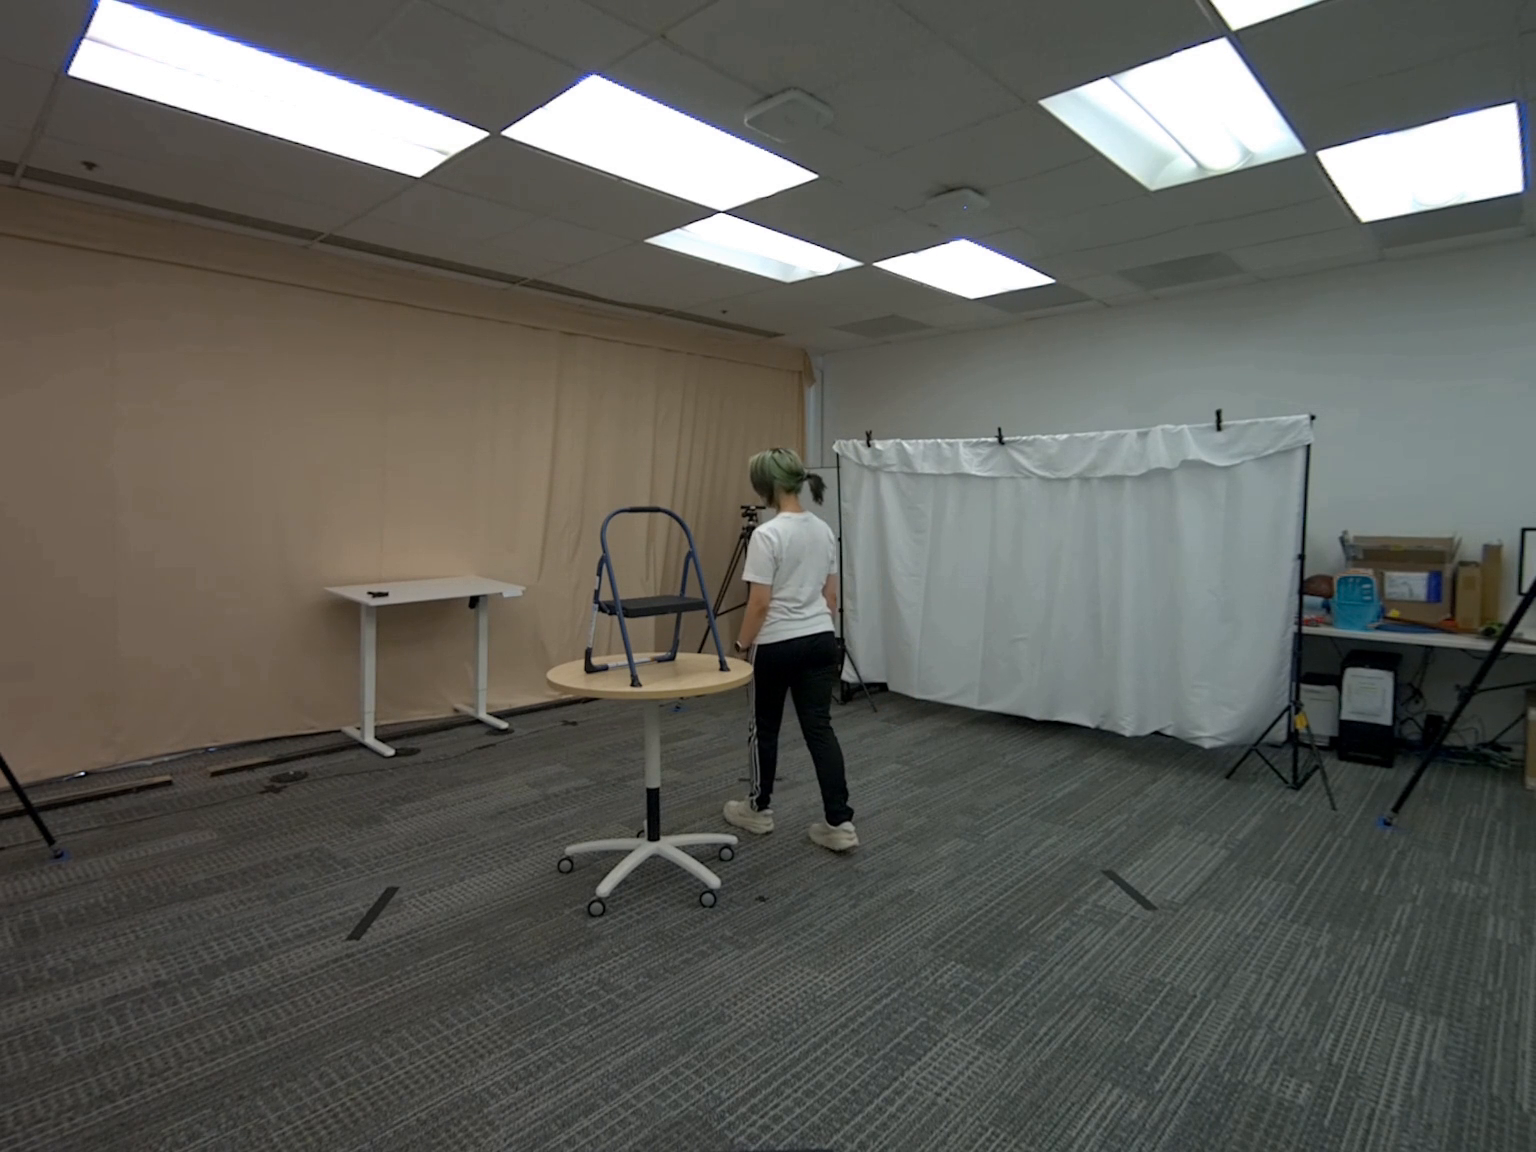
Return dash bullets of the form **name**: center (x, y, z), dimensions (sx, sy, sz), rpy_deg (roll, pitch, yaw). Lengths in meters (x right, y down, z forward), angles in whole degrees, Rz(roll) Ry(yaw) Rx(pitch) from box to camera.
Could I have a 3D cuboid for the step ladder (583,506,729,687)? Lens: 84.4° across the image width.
- **step ladder**: center (-0.418, 0.053, 3.075), dimensions (0.417, 0.605, 0.361), rpy_deg (-3, 4, -42)
